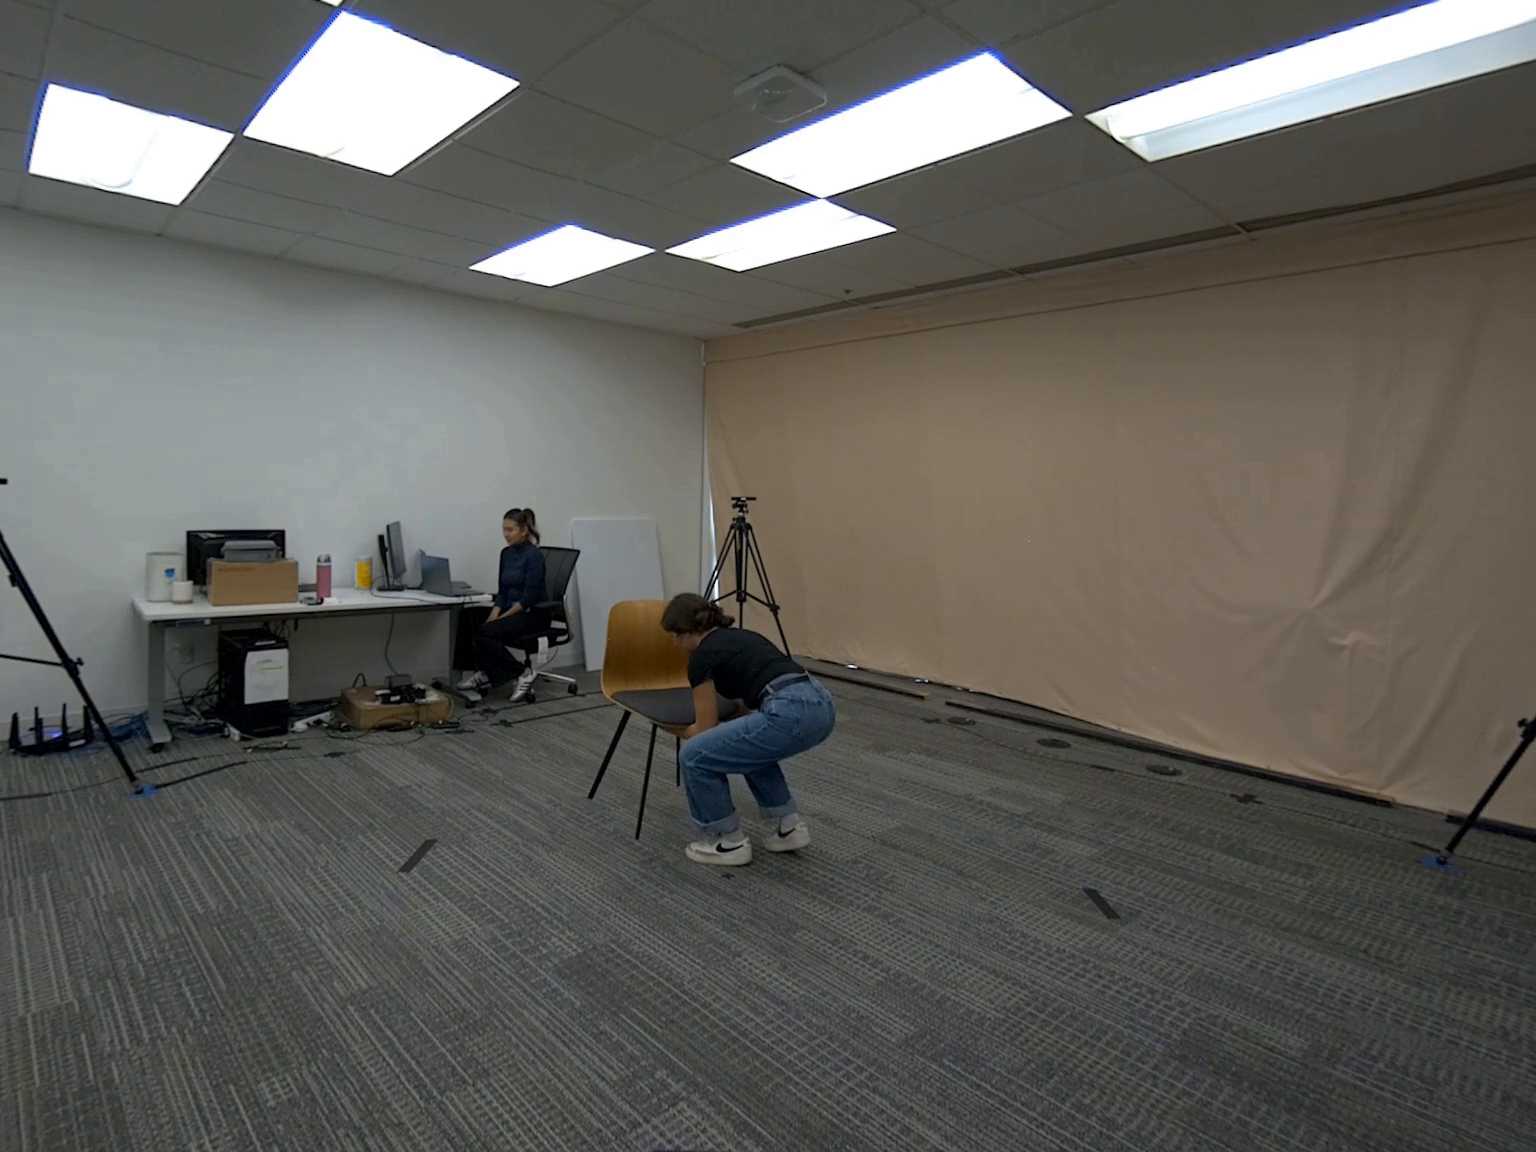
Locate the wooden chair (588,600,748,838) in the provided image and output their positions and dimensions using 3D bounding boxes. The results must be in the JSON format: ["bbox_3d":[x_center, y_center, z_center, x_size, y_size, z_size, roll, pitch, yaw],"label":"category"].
[{"bbox_3d":[-0.421,0.552,3.480,0.467,0.877,0.535,2,1,-35],"label":"wooden chair"}]
